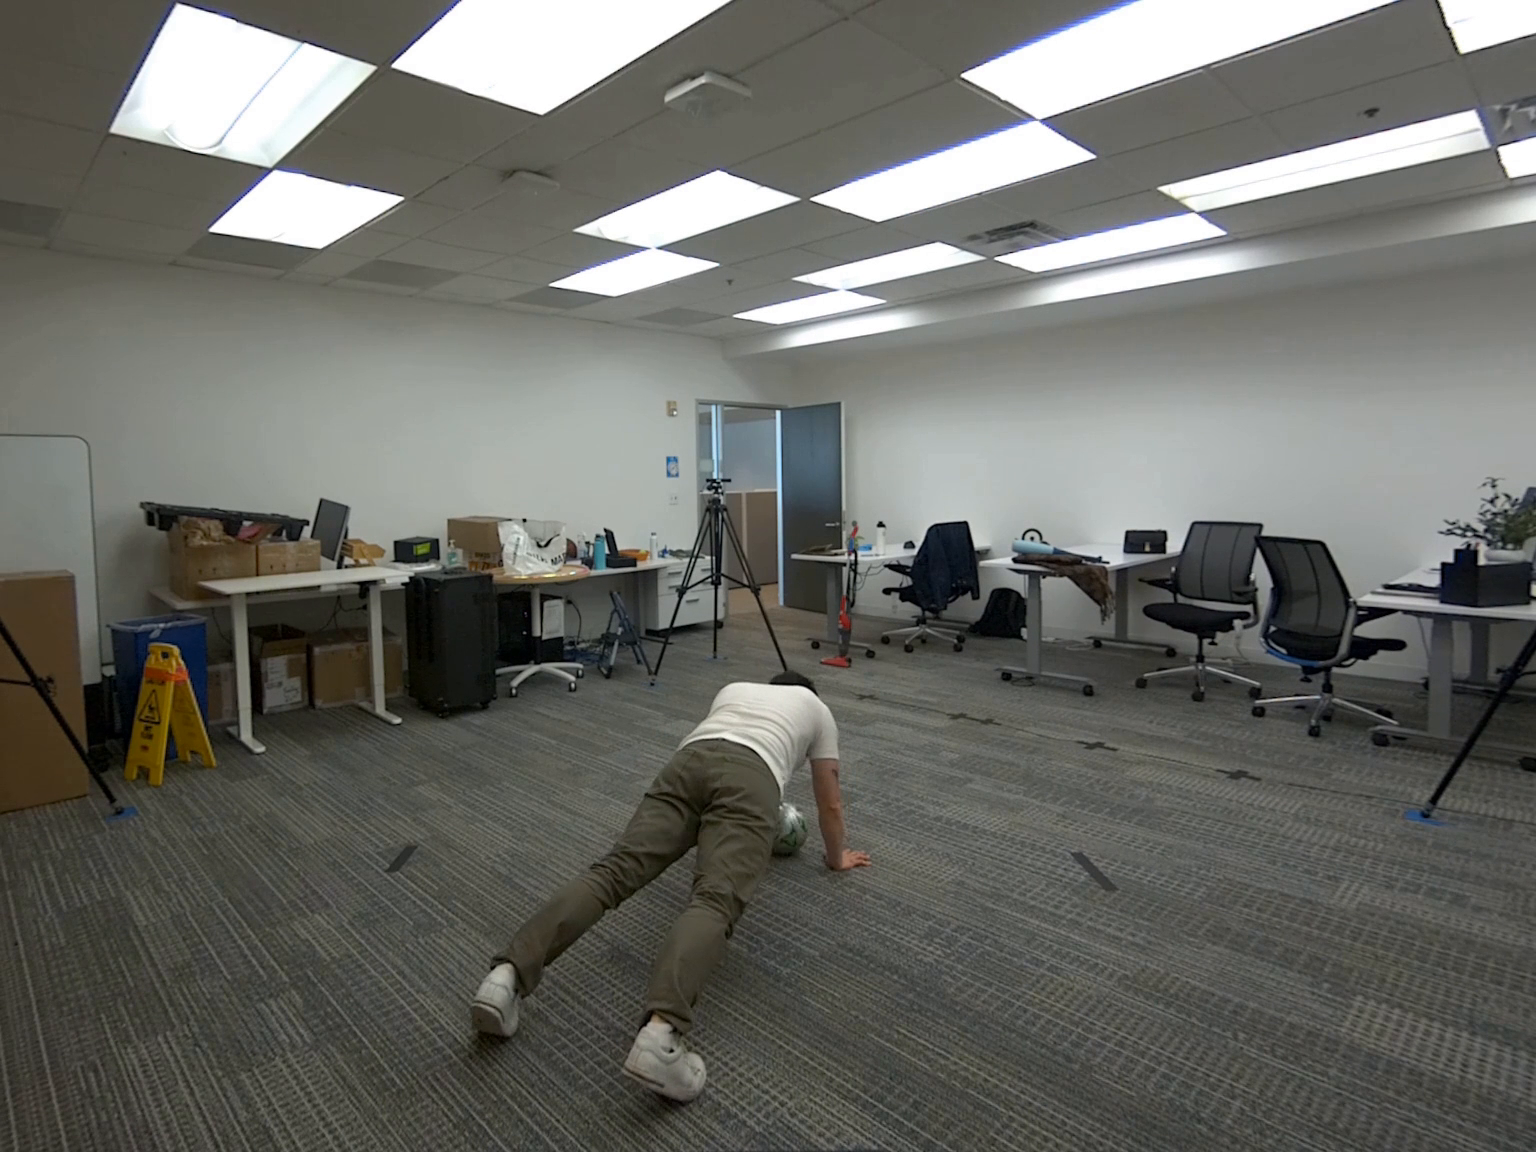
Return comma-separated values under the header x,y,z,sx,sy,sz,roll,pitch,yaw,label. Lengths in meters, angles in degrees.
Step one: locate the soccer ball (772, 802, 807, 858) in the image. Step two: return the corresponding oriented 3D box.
x,y,z,sx,sy,sz,roll,pitch,yaw,label
0.060,0.938,3.189,0.187,0.187,0.188,-1,5,-2,soccer ball
